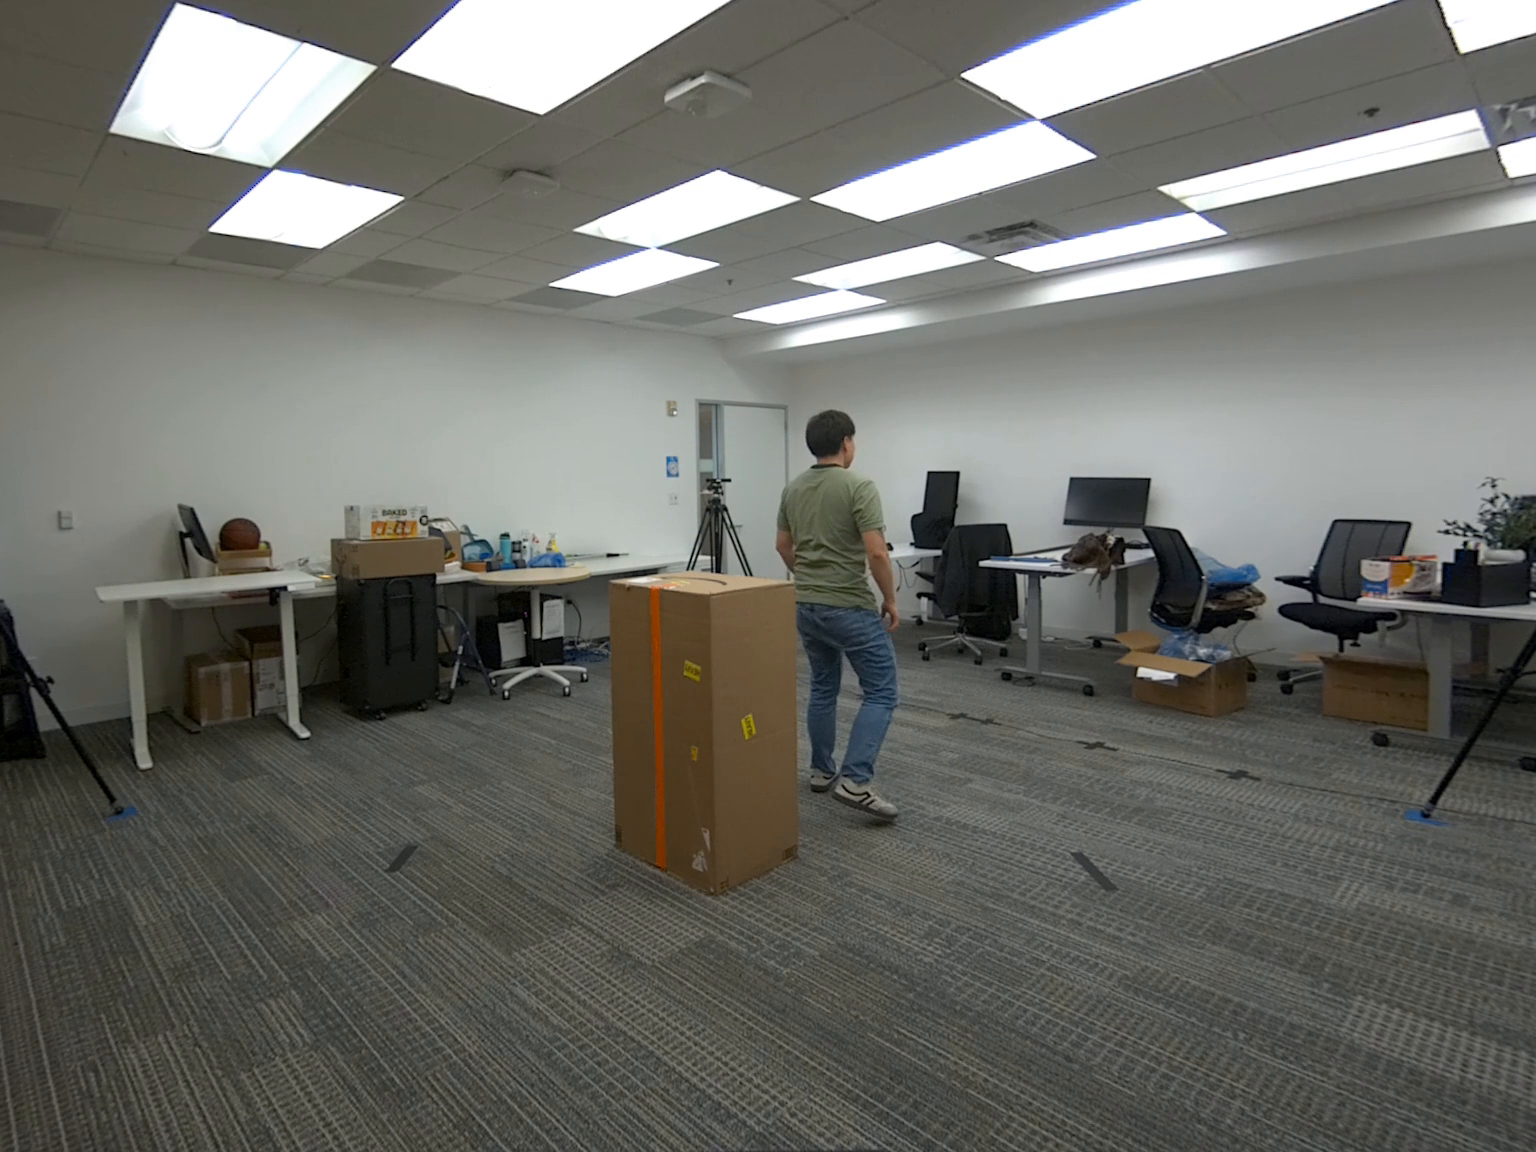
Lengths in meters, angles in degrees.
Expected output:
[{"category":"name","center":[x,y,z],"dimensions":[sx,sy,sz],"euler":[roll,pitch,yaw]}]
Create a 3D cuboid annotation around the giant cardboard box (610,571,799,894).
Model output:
[{"category":"giant cardboard box","center":[-0.241,0.528,3.174],"dimensions":[0.415,1.022,0.595],"euler":[-5,6,-44]}]
